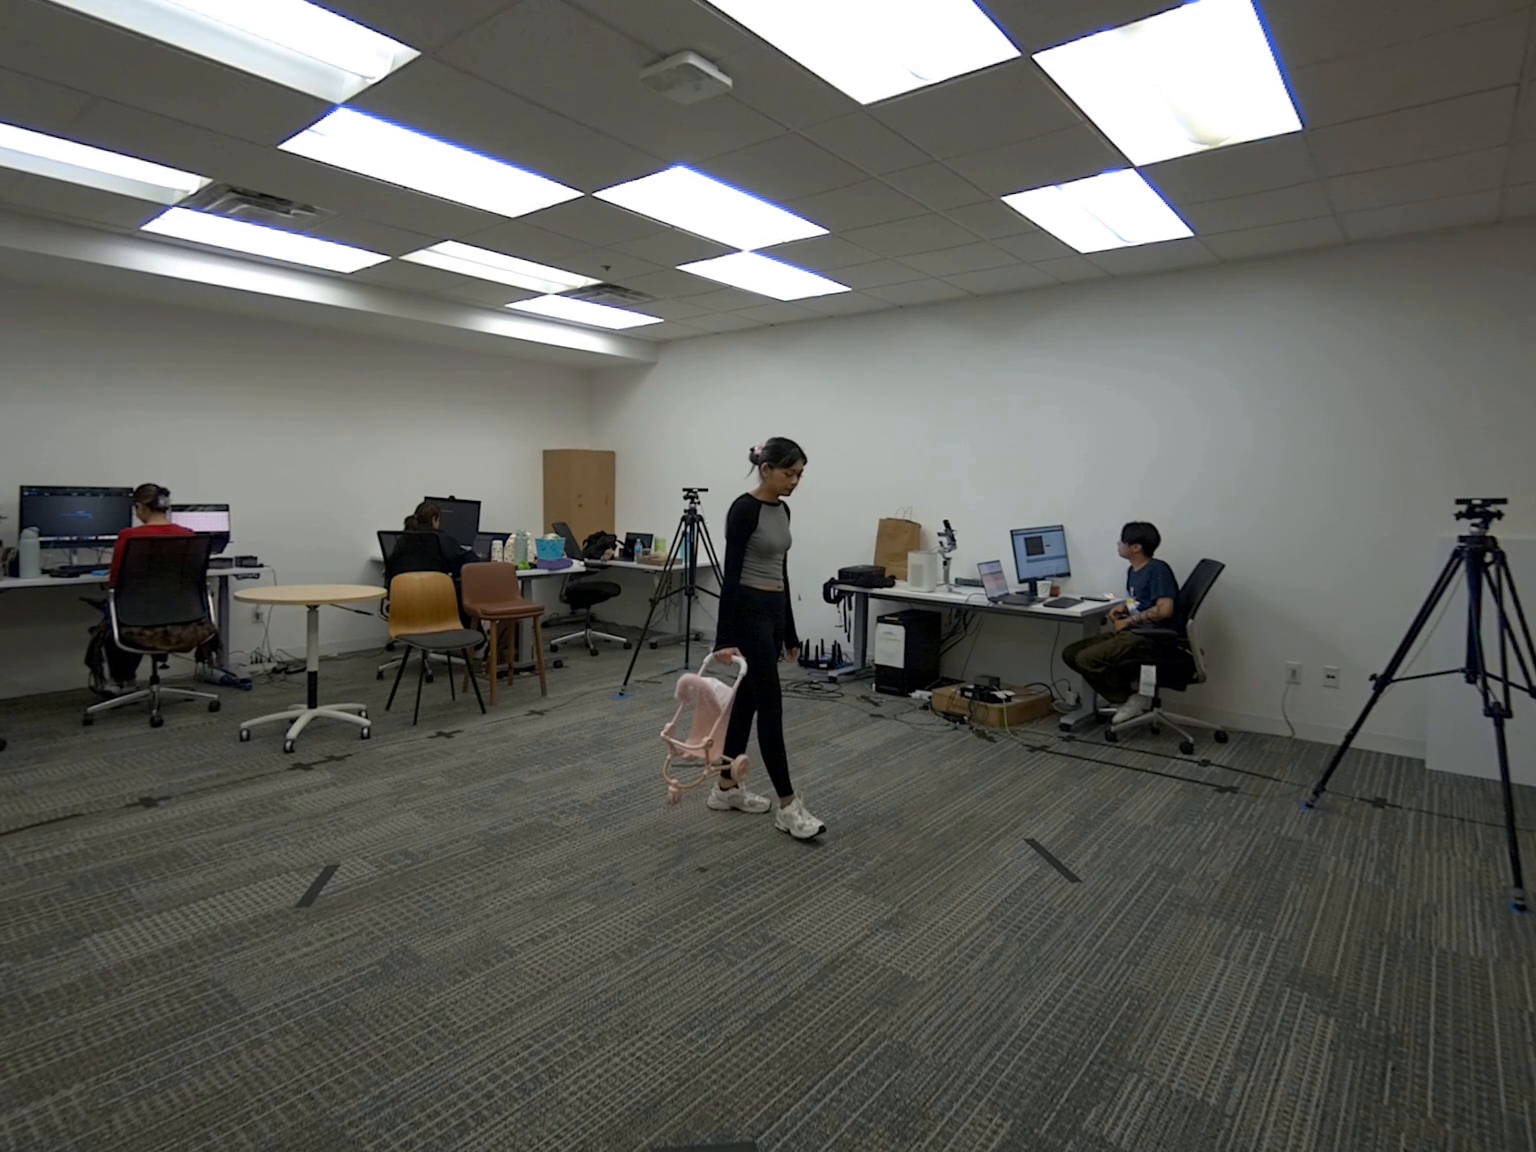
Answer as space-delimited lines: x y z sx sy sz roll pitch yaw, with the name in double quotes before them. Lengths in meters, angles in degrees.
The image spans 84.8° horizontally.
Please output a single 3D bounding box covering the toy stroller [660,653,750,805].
"toy stroller" -0.274 0.595 3.304 0.292 0.530 0.332 13 14 40
